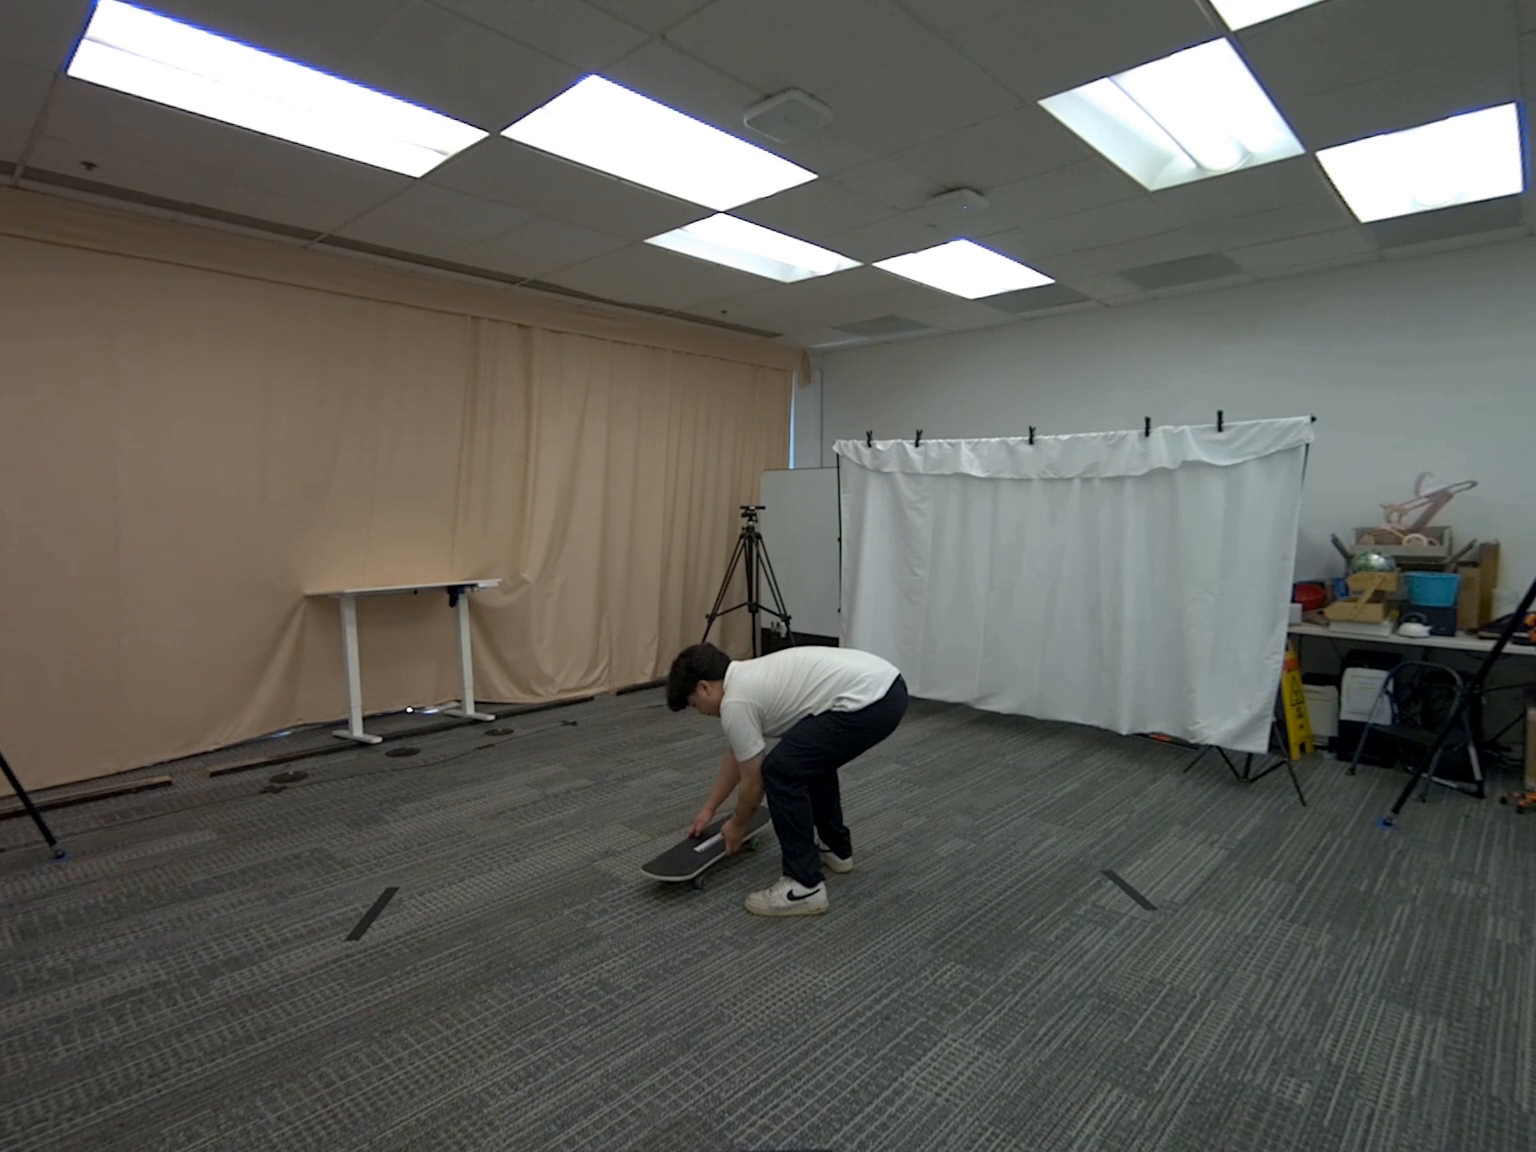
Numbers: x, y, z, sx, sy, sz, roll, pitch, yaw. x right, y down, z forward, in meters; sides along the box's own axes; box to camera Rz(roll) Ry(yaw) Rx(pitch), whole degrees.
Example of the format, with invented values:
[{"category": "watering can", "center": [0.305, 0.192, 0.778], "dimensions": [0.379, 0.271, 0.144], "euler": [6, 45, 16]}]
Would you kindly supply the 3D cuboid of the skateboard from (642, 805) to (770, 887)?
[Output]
[{"category": "skateboard", "center": [-0.218, 1.059, 3.268], "dimensions": [0.199, 0.110, 0.765], "euler": [2, 5, 30]}]
